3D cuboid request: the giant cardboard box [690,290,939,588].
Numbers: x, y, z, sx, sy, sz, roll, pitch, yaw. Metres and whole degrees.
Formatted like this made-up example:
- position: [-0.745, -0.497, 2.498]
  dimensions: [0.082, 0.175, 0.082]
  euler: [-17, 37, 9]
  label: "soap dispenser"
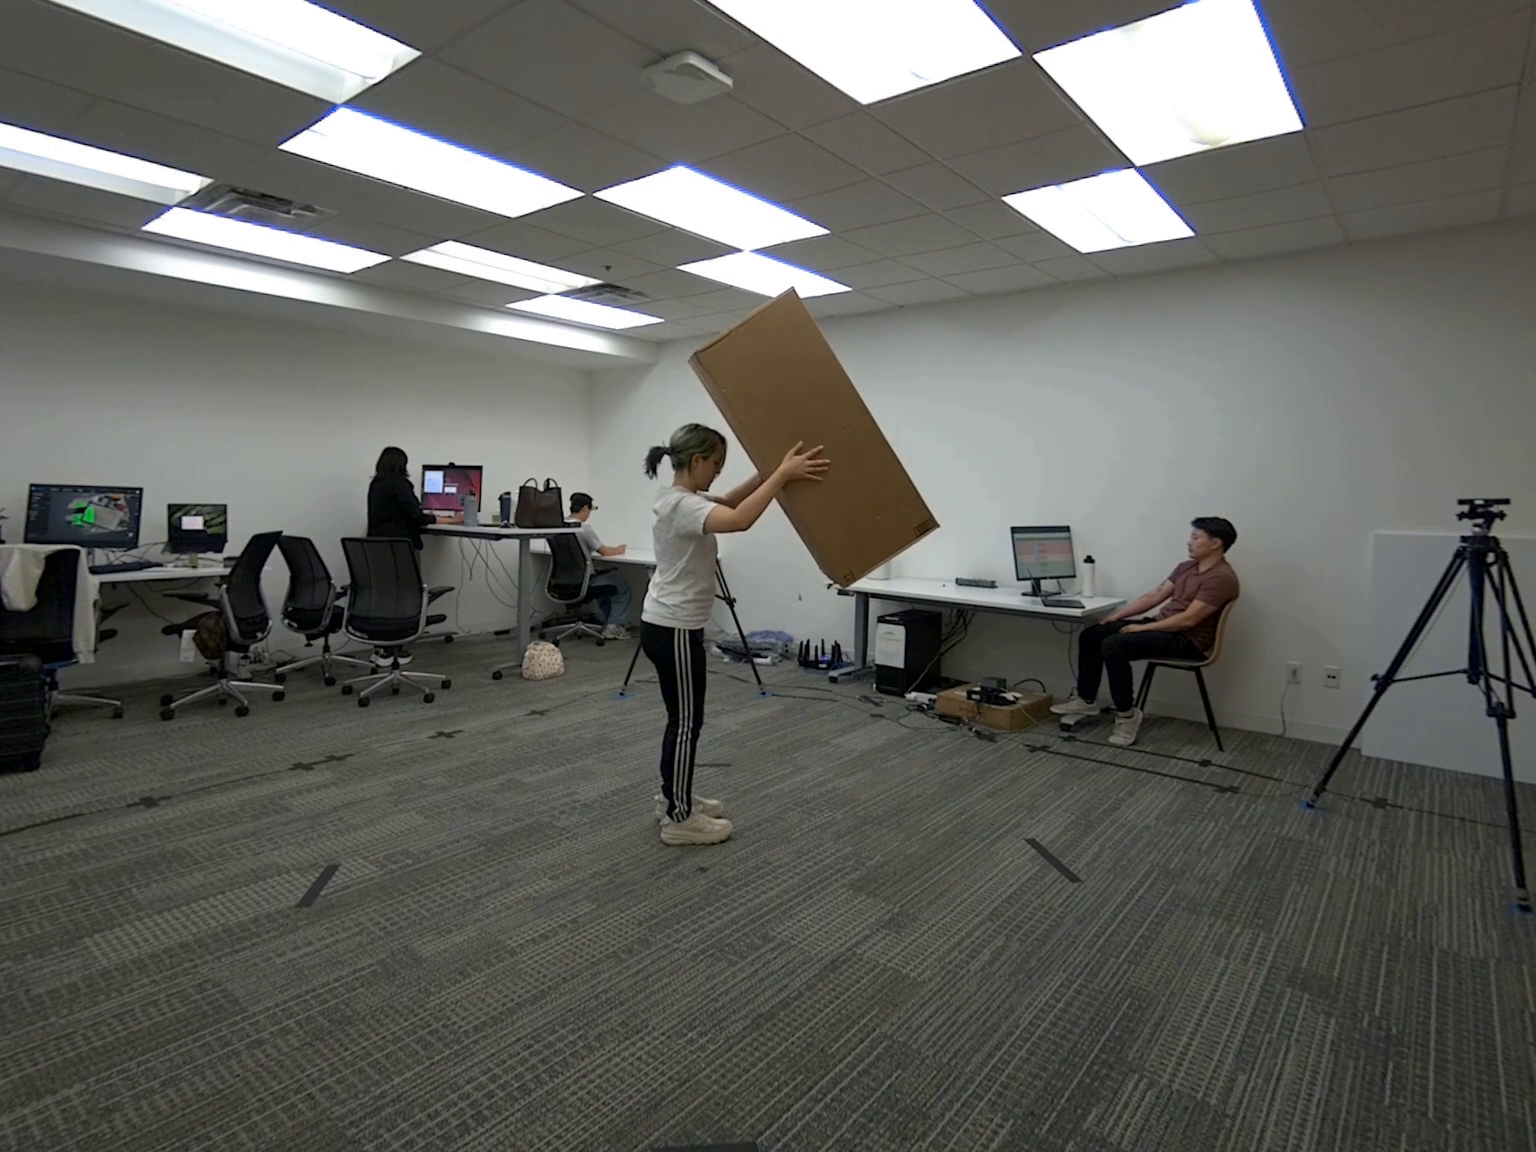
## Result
- position: [0.147, -0.530, 3.331]
  dimensions: [0.447, 1.014, 0.592]
  euler: [-33, 10, -1]
  label: "giant cardboard box"
